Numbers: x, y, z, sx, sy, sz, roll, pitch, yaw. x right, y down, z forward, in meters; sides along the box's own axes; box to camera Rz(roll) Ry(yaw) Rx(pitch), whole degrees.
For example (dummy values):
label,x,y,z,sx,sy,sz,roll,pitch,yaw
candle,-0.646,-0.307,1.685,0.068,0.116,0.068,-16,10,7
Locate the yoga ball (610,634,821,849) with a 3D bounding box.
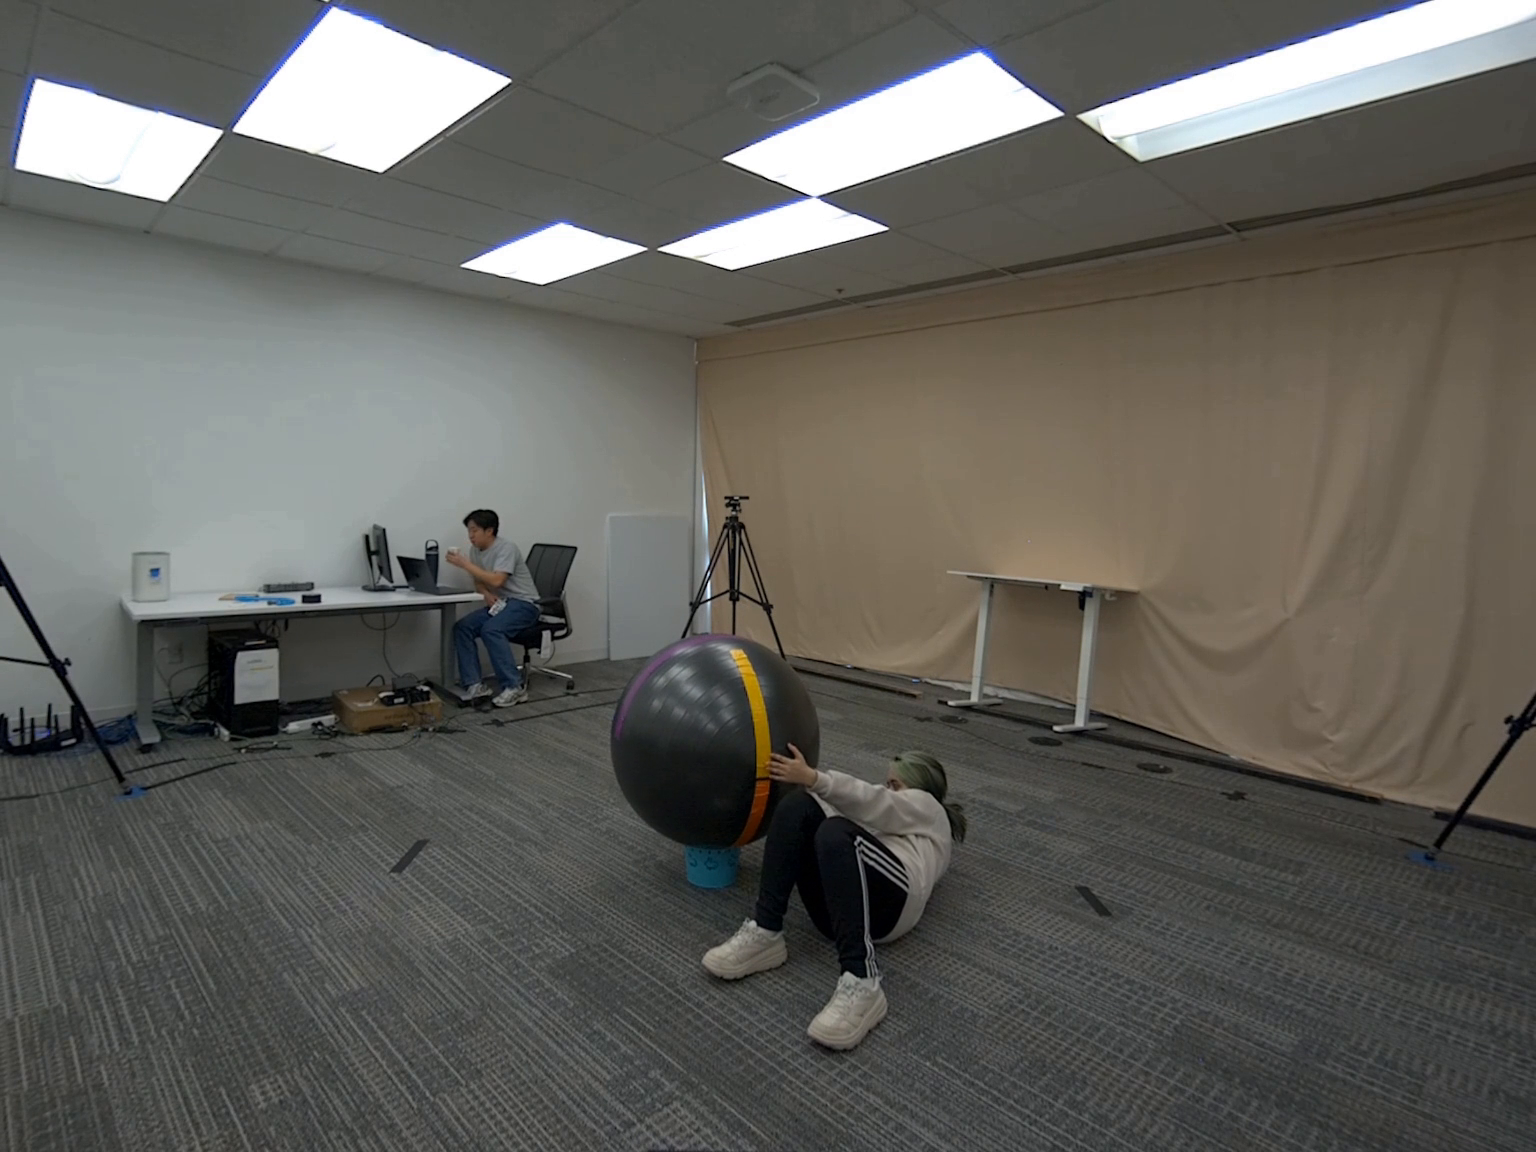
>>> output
label,x,y,z,sx,sy,sz,roll,pitch,yaw
yoga ball,-0.198,0.591,3.062,0.757,0.756,0.761,1,4,-1
